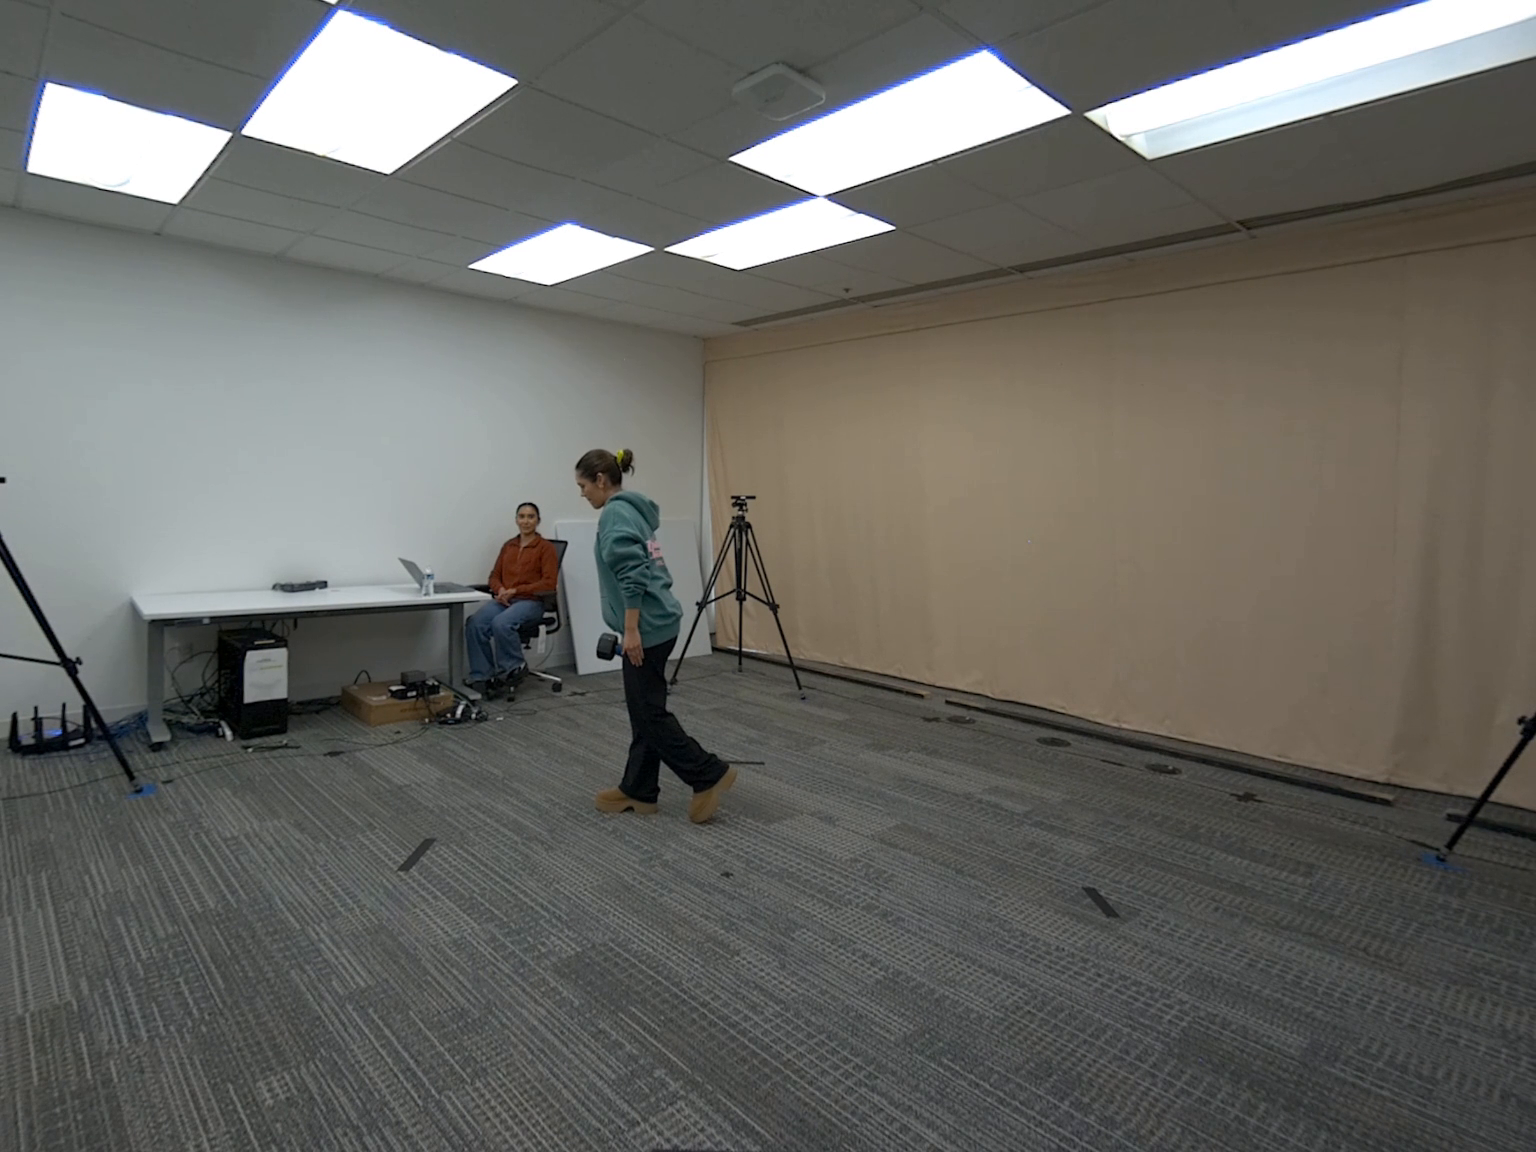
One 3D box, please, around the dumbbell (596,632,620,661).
[{"bbox_3d":[-0.650,0.351,3.873,0.294,0.124,0.107,12,-12,3],"label":"dumbbell"}]
